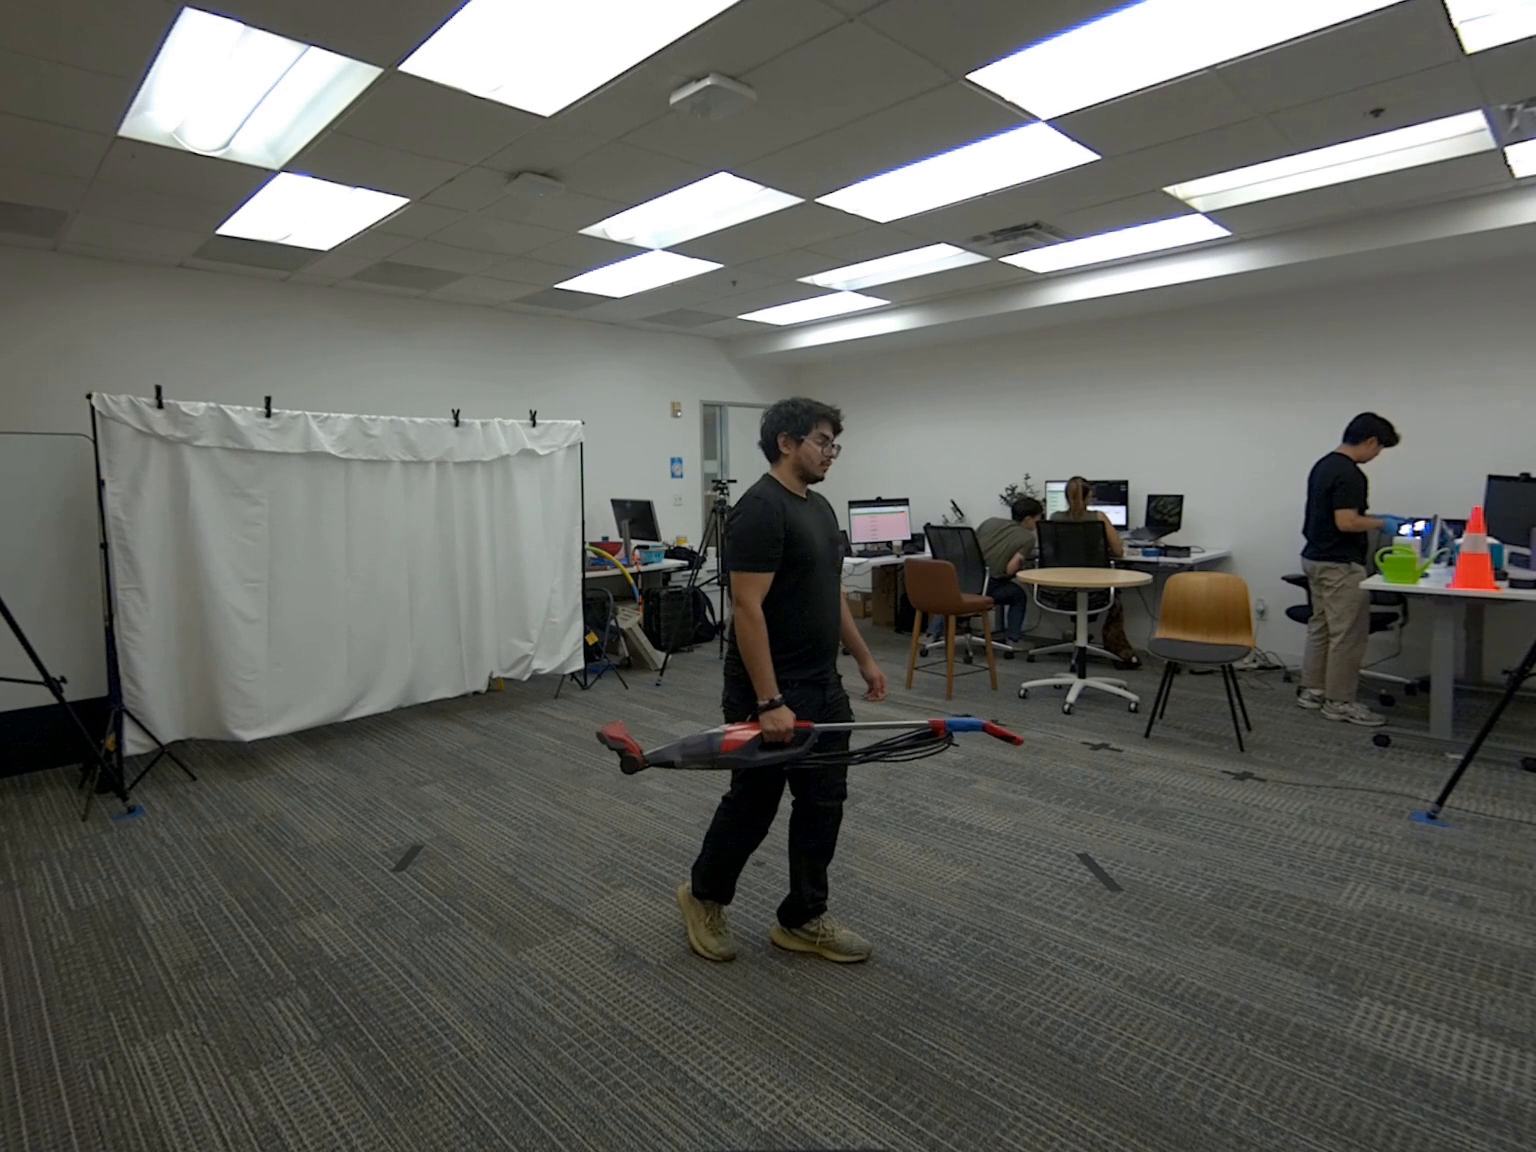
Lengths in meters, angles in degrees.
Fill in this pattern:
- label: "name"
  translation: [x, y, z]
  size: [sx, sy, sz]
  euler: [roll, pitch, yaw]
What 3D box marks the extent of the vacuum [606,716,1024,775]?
- label: "vacuum"
  translation: [0.140, 0.456, 2.249]
  size: [1.052, 0.144, 0.251]
  euler: [-1, -1, 2]
